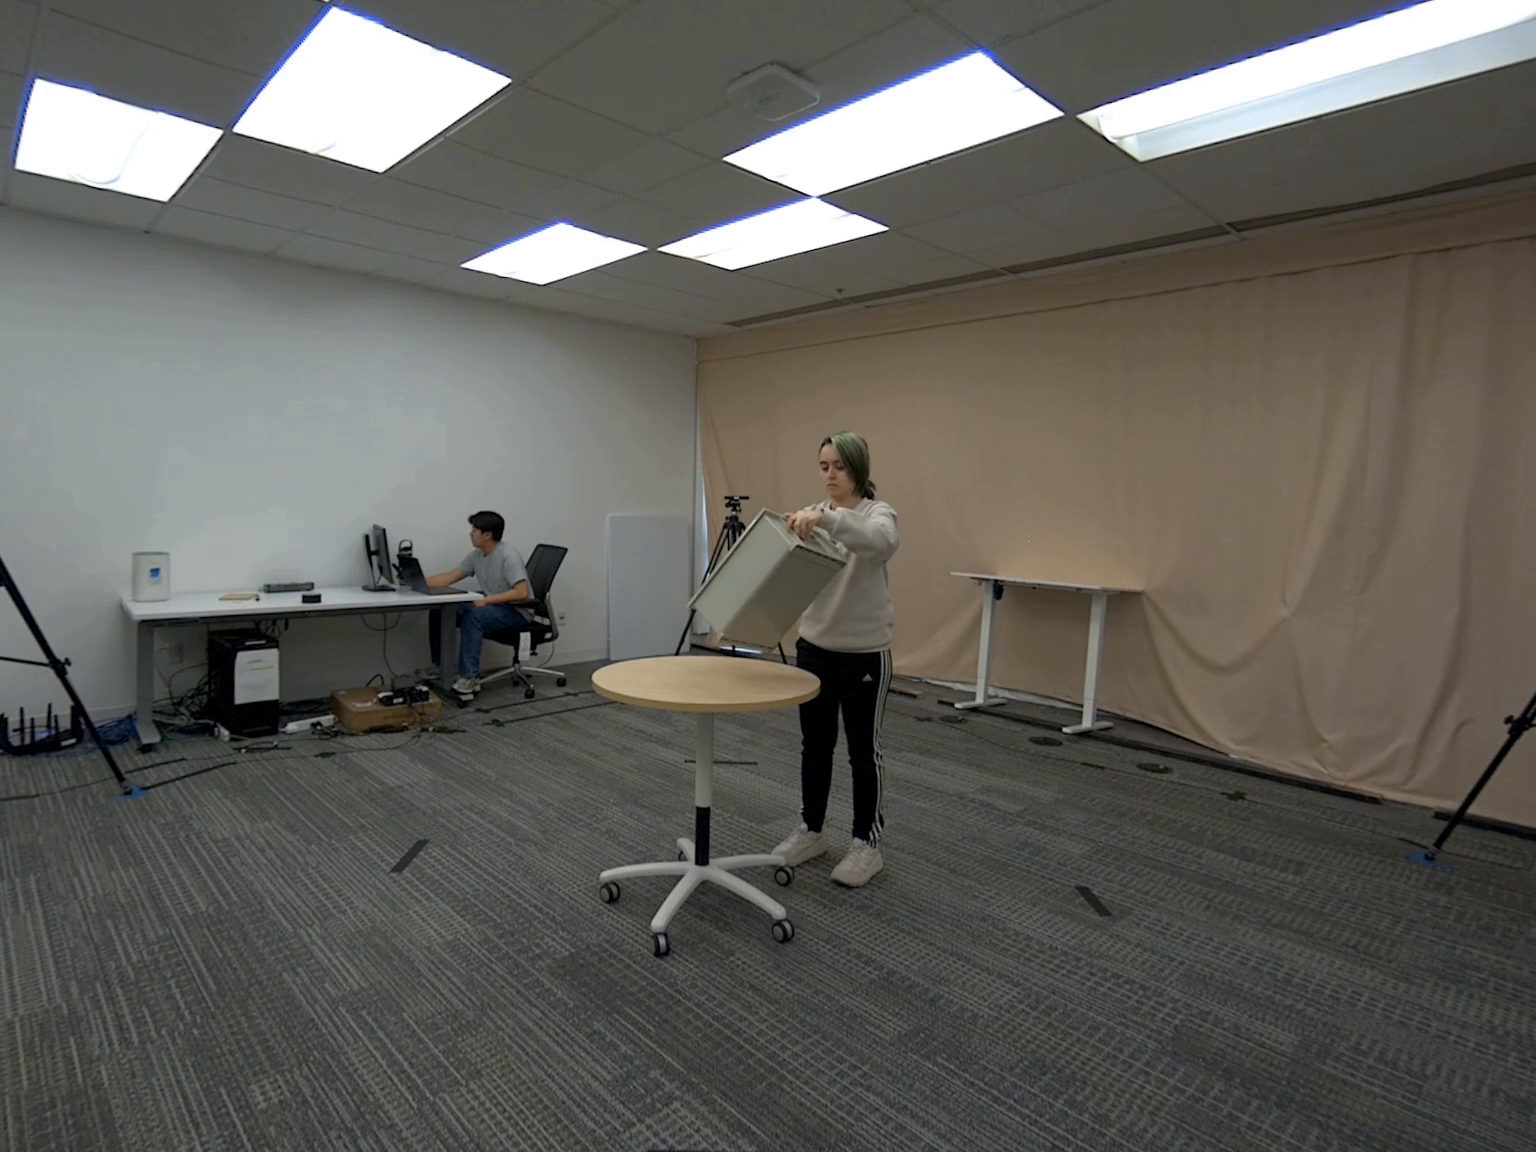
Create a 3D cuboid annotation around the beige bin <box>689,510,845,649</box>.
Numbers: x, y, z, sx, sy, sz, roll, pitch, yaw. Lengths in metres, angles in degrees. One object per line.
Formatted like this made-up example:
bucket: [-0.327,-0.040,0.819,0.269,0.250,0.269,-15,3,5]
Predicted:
beige bin: [0.003,0.033,2.818,0.367,0.422,0.194,18,26,-54]
